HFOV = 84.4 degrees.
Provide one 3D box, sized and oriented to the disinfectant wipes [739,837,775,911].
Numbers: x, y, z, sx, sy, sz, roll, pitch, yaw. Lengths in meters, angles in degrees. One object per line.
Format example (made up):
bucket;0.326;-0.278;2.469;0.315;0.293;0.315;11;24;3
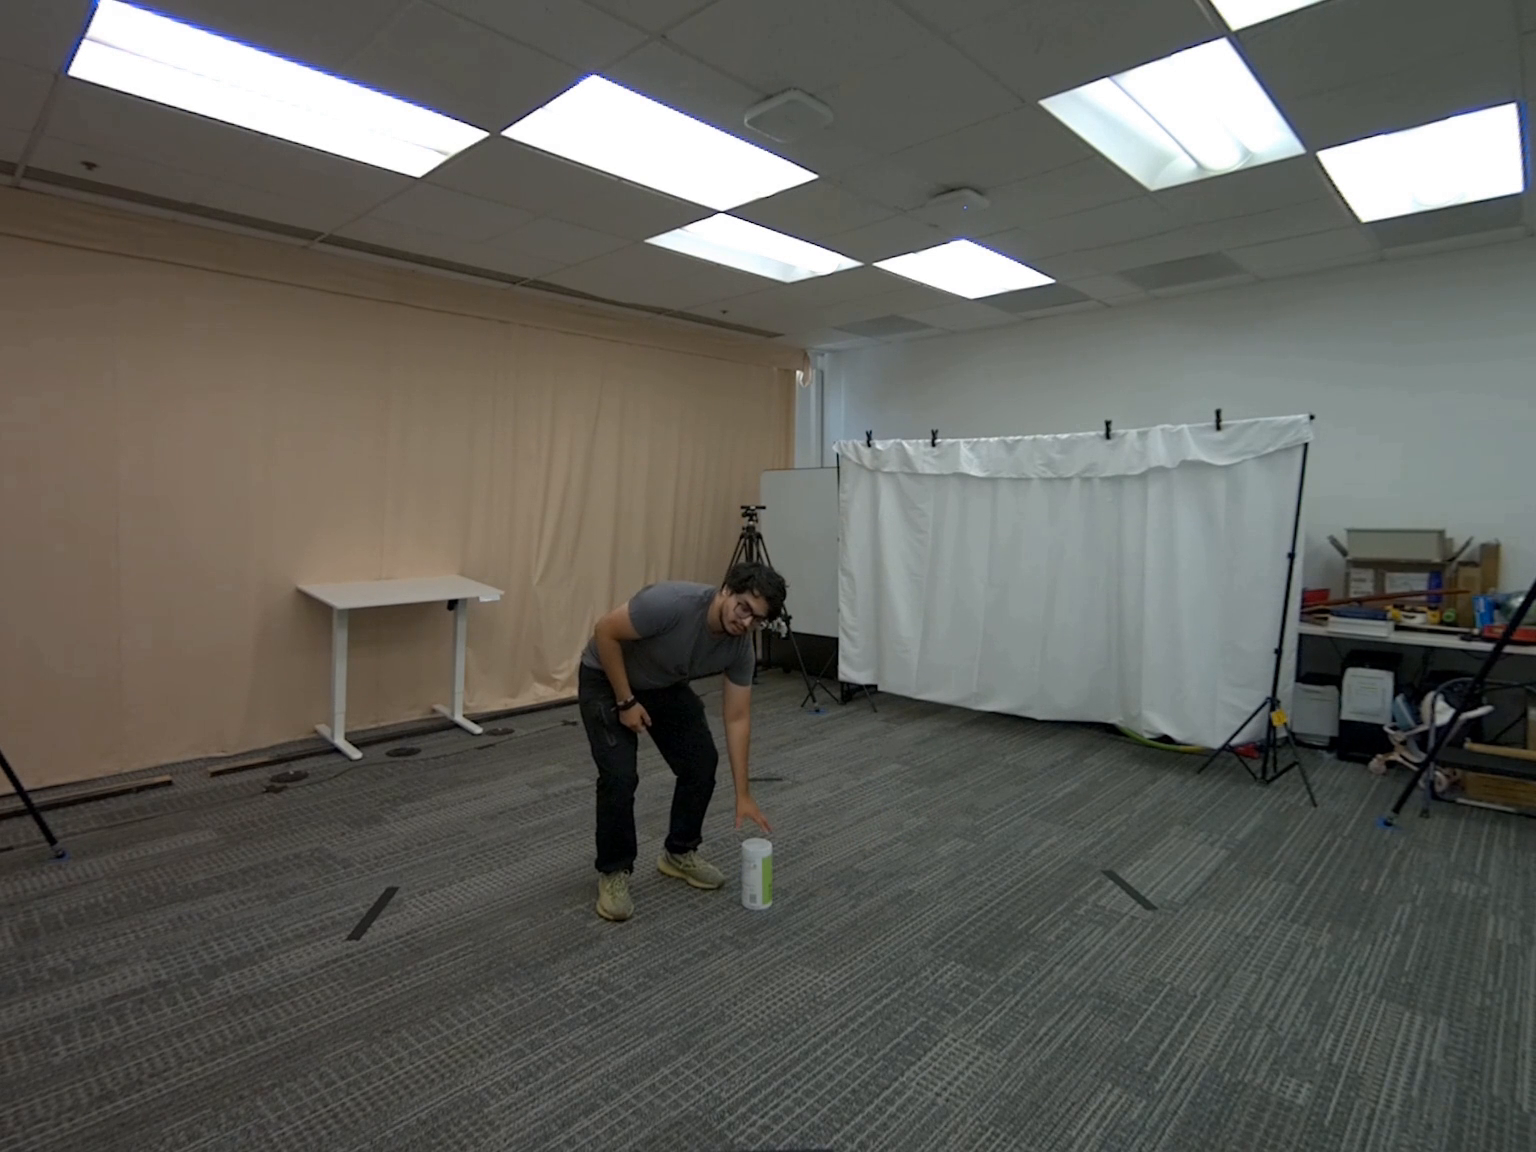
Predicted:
disinfectant wipes;-0.036;1.044;2.928;0.117;0.217;0.118;1;3;-2
